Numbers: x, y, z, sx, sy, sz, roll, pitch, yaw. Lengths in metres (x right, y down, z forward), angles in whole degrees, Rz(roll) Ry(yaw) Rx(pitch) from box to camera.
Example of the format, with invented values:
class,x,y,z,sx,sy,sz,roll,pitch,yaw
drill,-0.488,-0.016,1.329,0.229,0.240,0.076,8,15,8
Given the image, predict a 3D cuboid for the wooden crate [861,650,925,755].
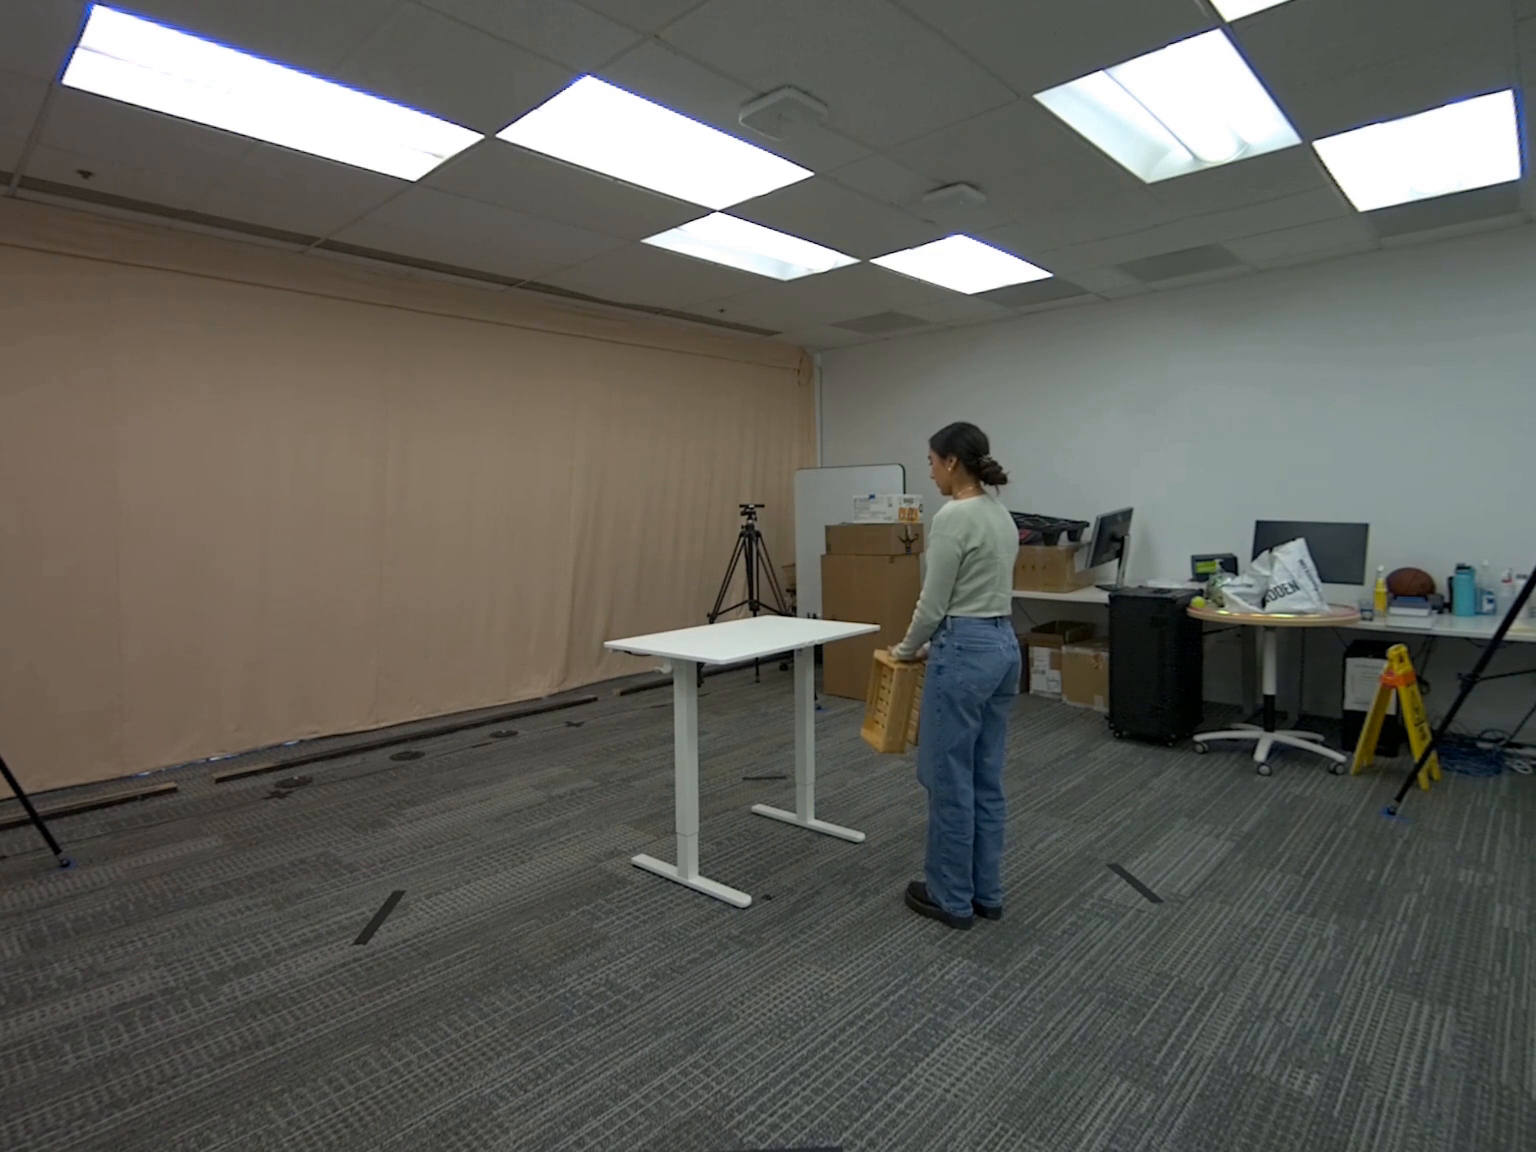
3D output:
class,x,y,z,sx,sy,sz,roll,pitch,yaw
wooden crate,0.463,0.427,2.998,0.266,0.323,0.311,4,9,-25
